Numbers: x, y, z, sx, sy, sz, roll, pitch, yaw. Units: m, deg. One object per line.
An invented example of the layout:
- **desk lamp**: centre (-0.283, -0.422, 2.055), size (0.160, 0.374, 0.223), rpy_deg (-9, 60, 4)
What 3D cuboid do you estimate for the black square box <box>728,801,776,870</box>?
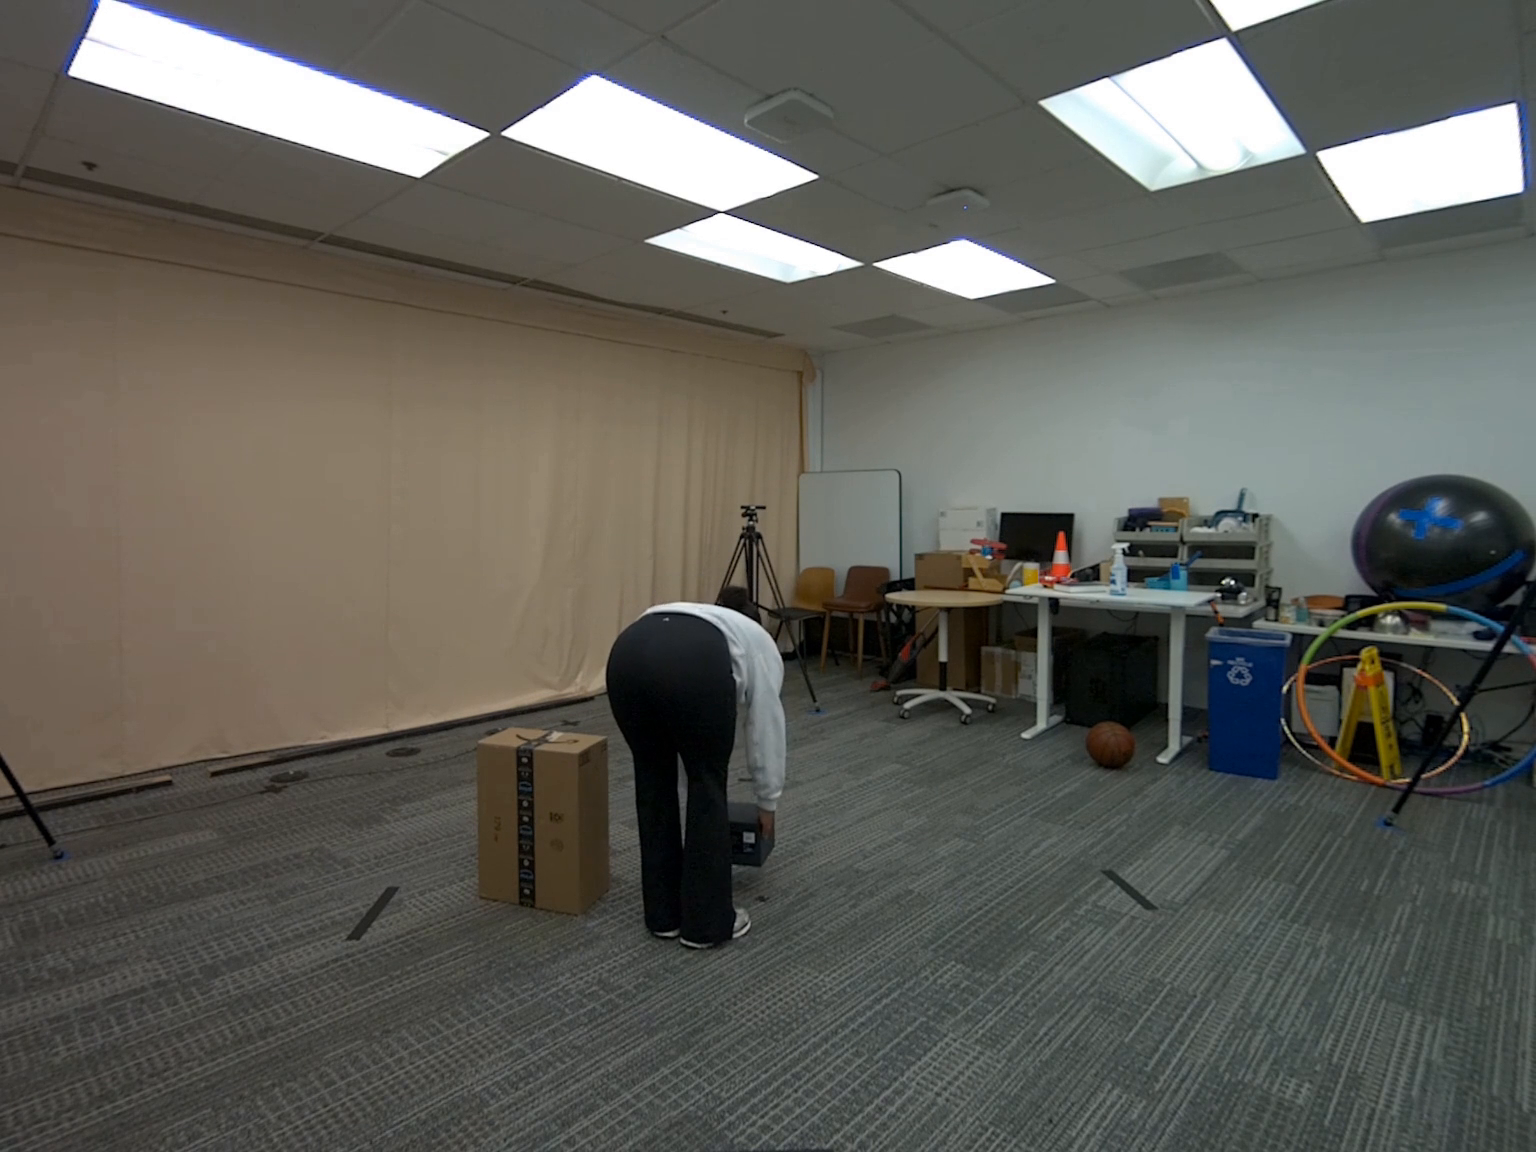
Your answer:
- **black square box**: centre (-0.105, 0.931, 3.070), size (0.221, 0.156, 0.224), rpy_deg (0, 2, 15)
